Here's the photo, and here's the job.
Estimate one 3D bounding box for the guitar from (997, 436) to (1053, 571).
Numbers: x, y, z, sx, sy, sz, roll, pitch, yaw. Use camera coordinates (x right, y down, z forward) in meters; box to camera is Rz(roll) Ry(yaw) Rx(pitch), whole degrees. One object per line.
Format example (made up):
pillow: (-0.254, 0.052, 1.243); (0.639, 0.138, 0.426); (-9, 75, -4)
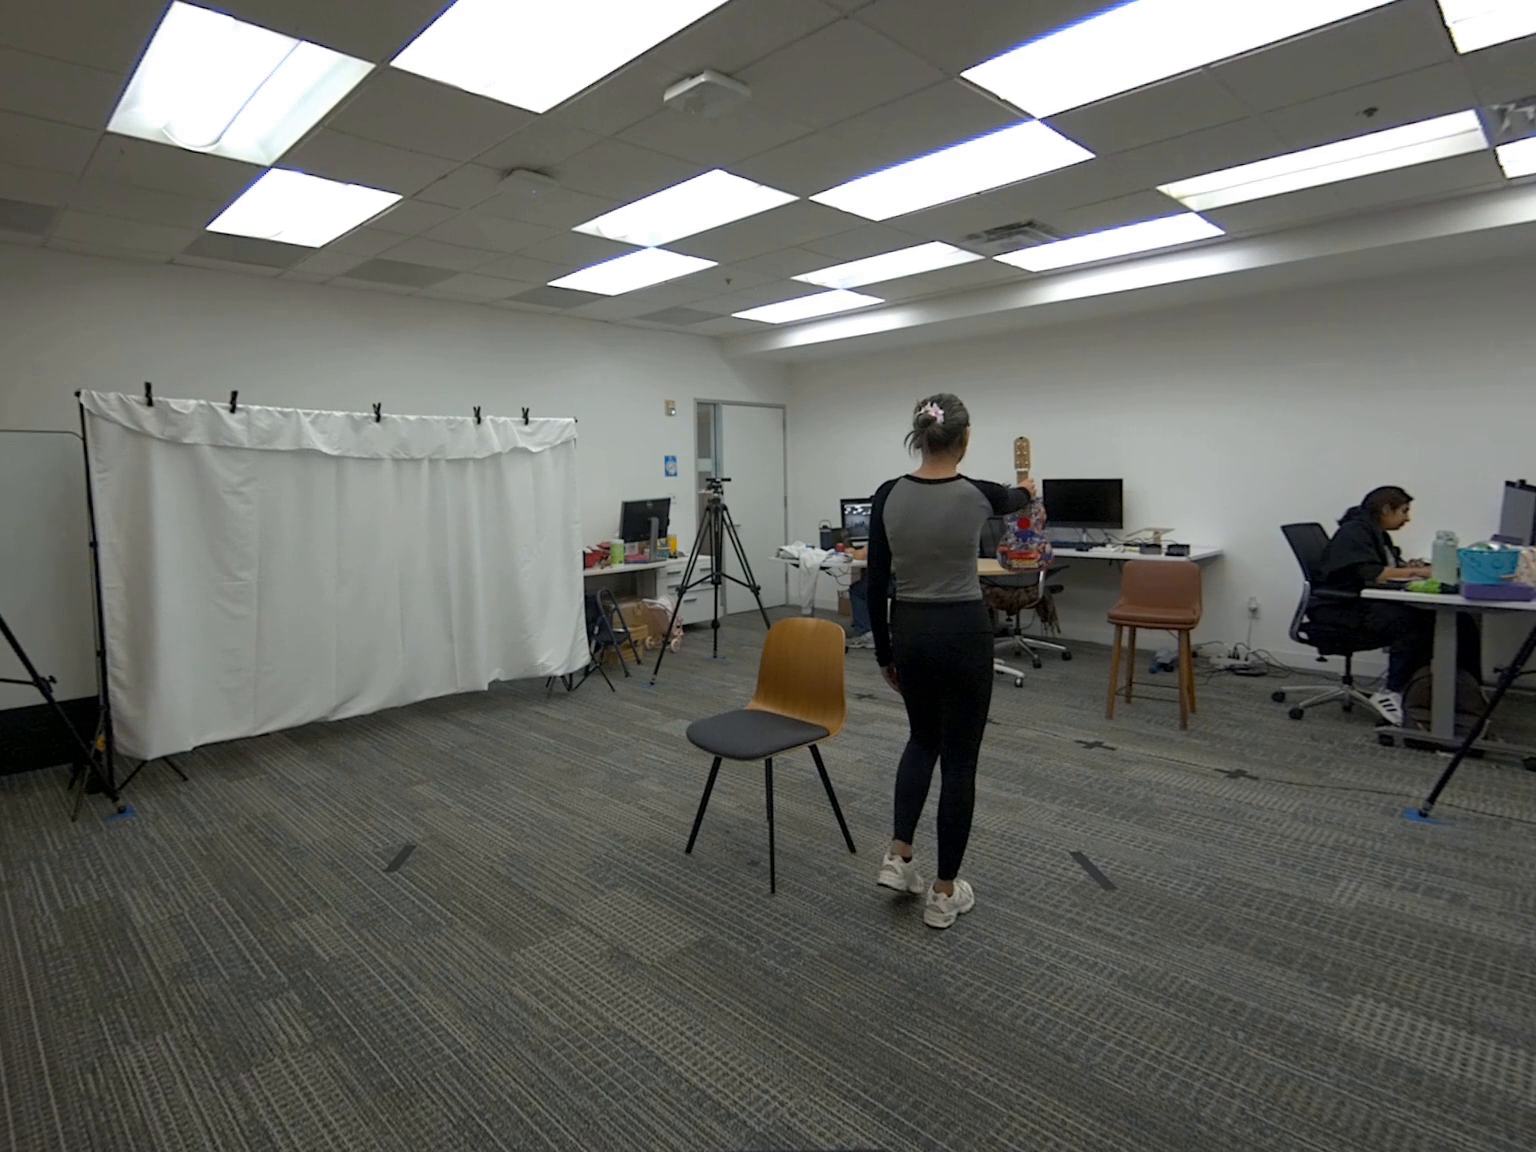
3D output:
guitar: (0.970, -0.260, 3.135); (0.197, 0.500, 0.069); (6, -7, 21)
